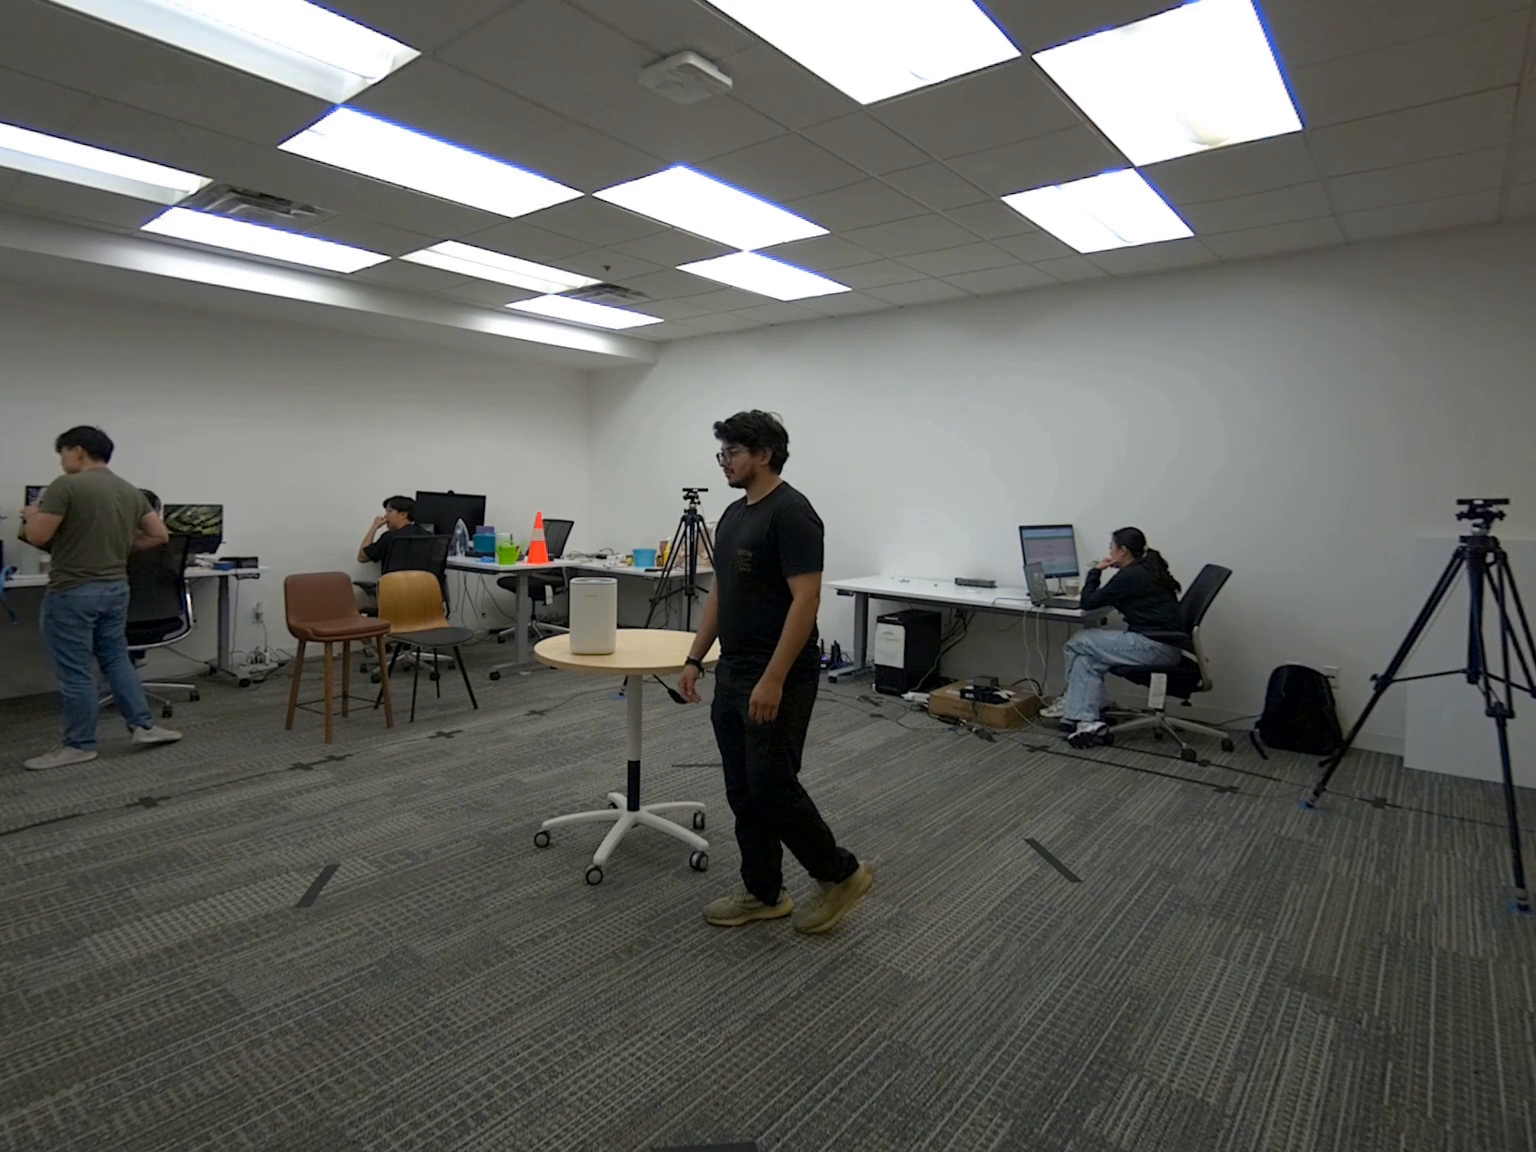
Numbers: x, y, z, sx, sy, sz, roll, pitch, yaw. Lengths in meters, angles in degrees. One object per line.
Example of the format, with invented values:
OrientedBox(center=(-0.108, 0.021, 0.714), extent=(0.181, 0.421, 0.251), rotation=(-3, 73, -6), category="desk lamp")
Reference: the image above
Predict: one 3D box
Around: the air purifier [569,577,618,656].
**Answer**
OrientedBox(center=(-0.660, 0.140, 3.156), extent=(0.170, 0.264, 0.173), rotation=(4, 4, -6), category="air purifier")
